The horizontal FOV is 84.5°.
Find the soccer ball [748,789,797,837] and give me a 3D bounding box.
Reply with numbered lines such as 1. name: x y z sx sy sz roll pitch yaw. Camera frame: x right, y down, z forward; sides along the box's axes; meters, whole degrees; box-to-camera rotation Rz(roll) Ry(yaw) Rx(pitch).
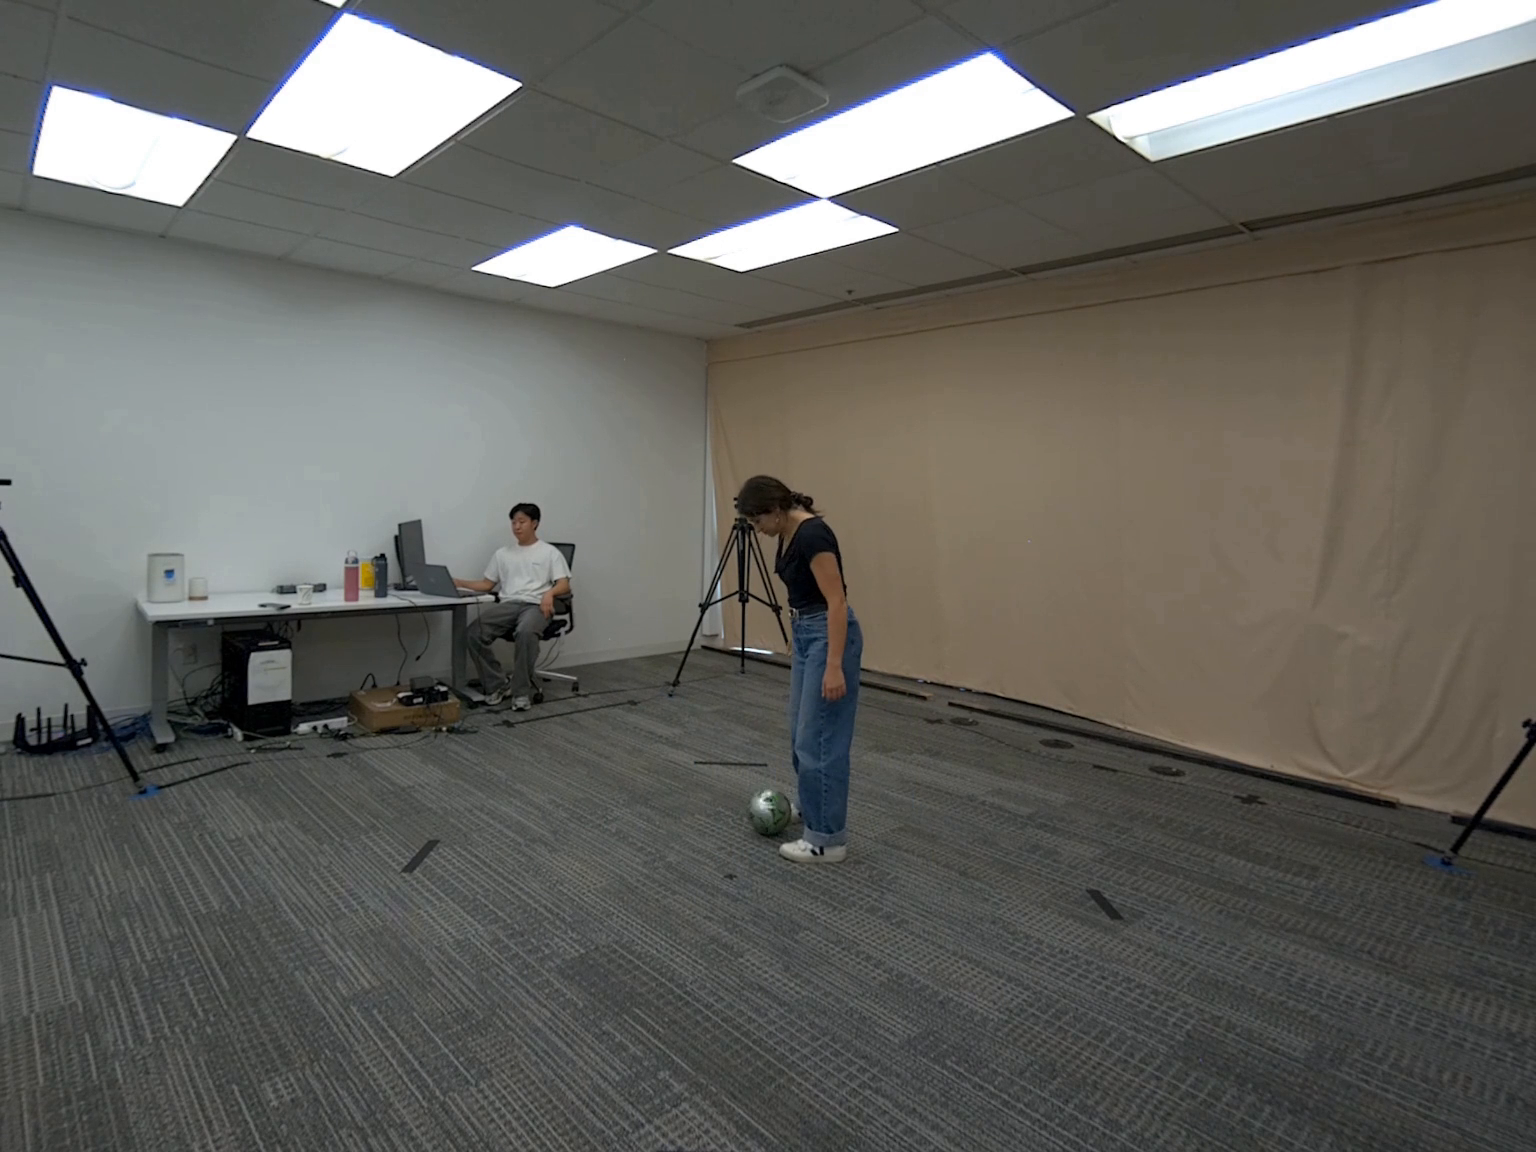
1. soccer ball: -0.008 0.985 3.512 0.187 0.187 0.188 1 4 -1
